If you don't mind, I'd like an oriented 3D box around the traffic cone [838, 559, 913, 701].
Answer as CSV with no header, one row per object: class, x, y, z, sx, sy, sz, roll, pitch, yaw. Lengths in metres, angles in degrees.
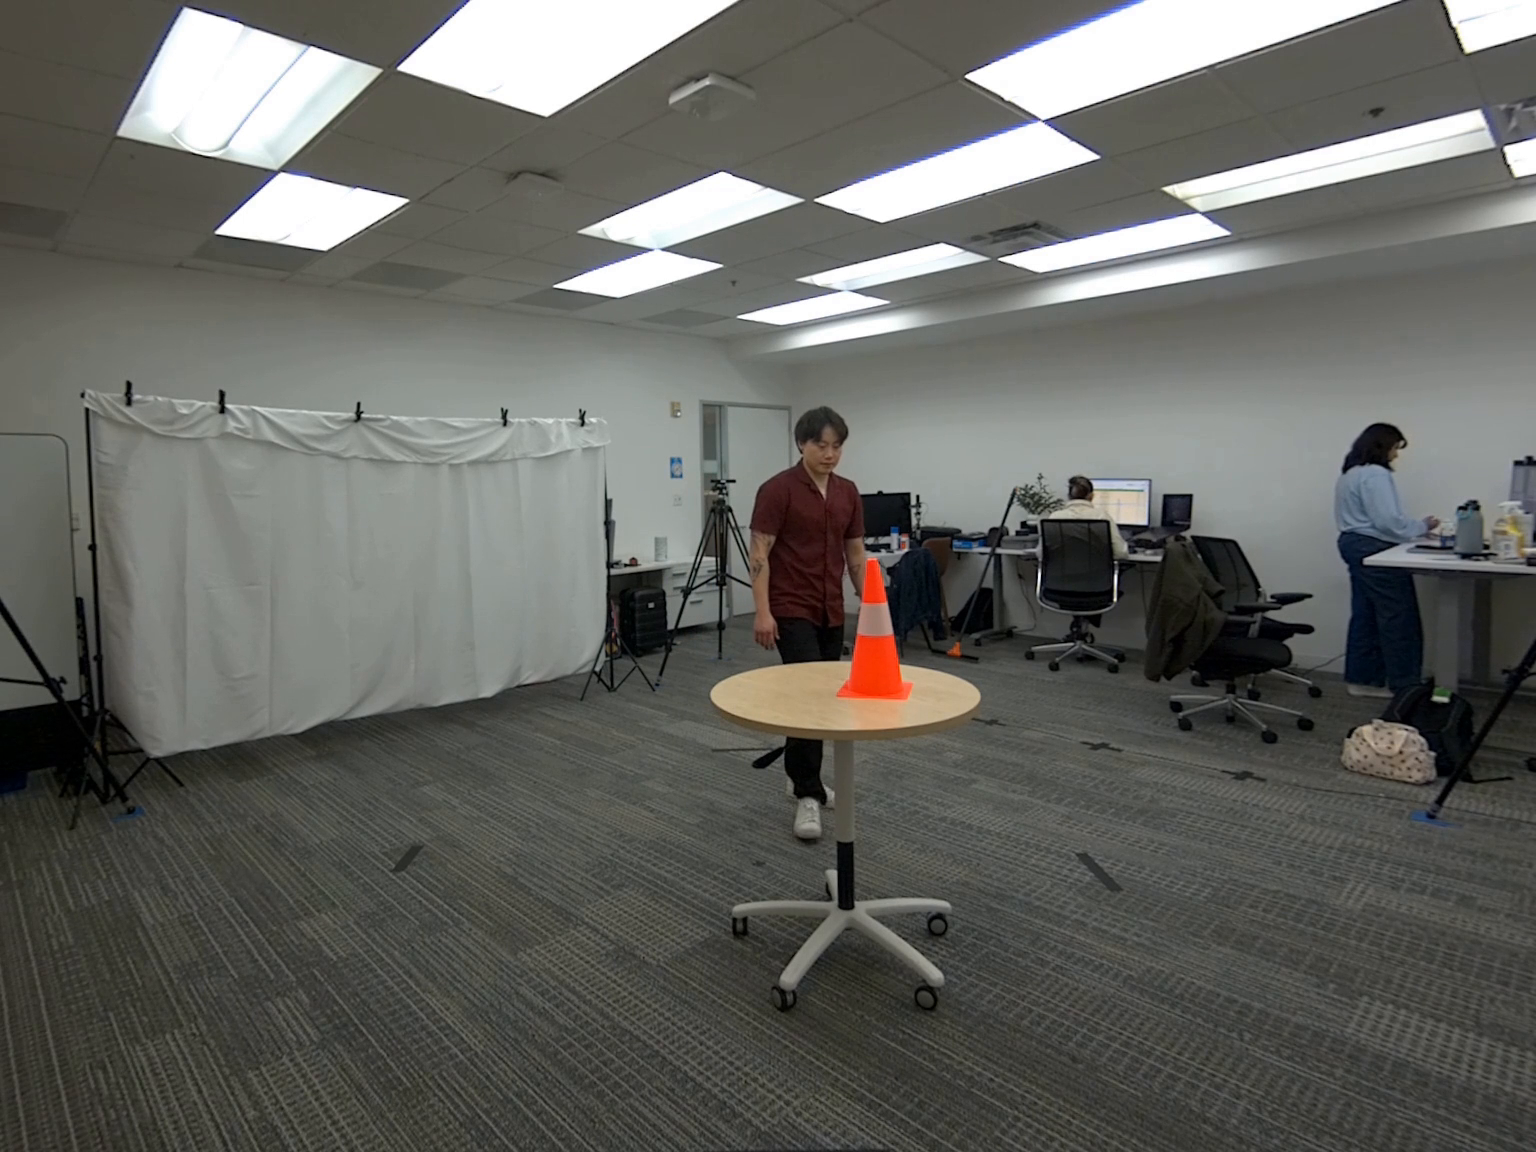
traffic cone,0.310,0.147,2.447,0.206,0.382,0.203,-1,5,15
